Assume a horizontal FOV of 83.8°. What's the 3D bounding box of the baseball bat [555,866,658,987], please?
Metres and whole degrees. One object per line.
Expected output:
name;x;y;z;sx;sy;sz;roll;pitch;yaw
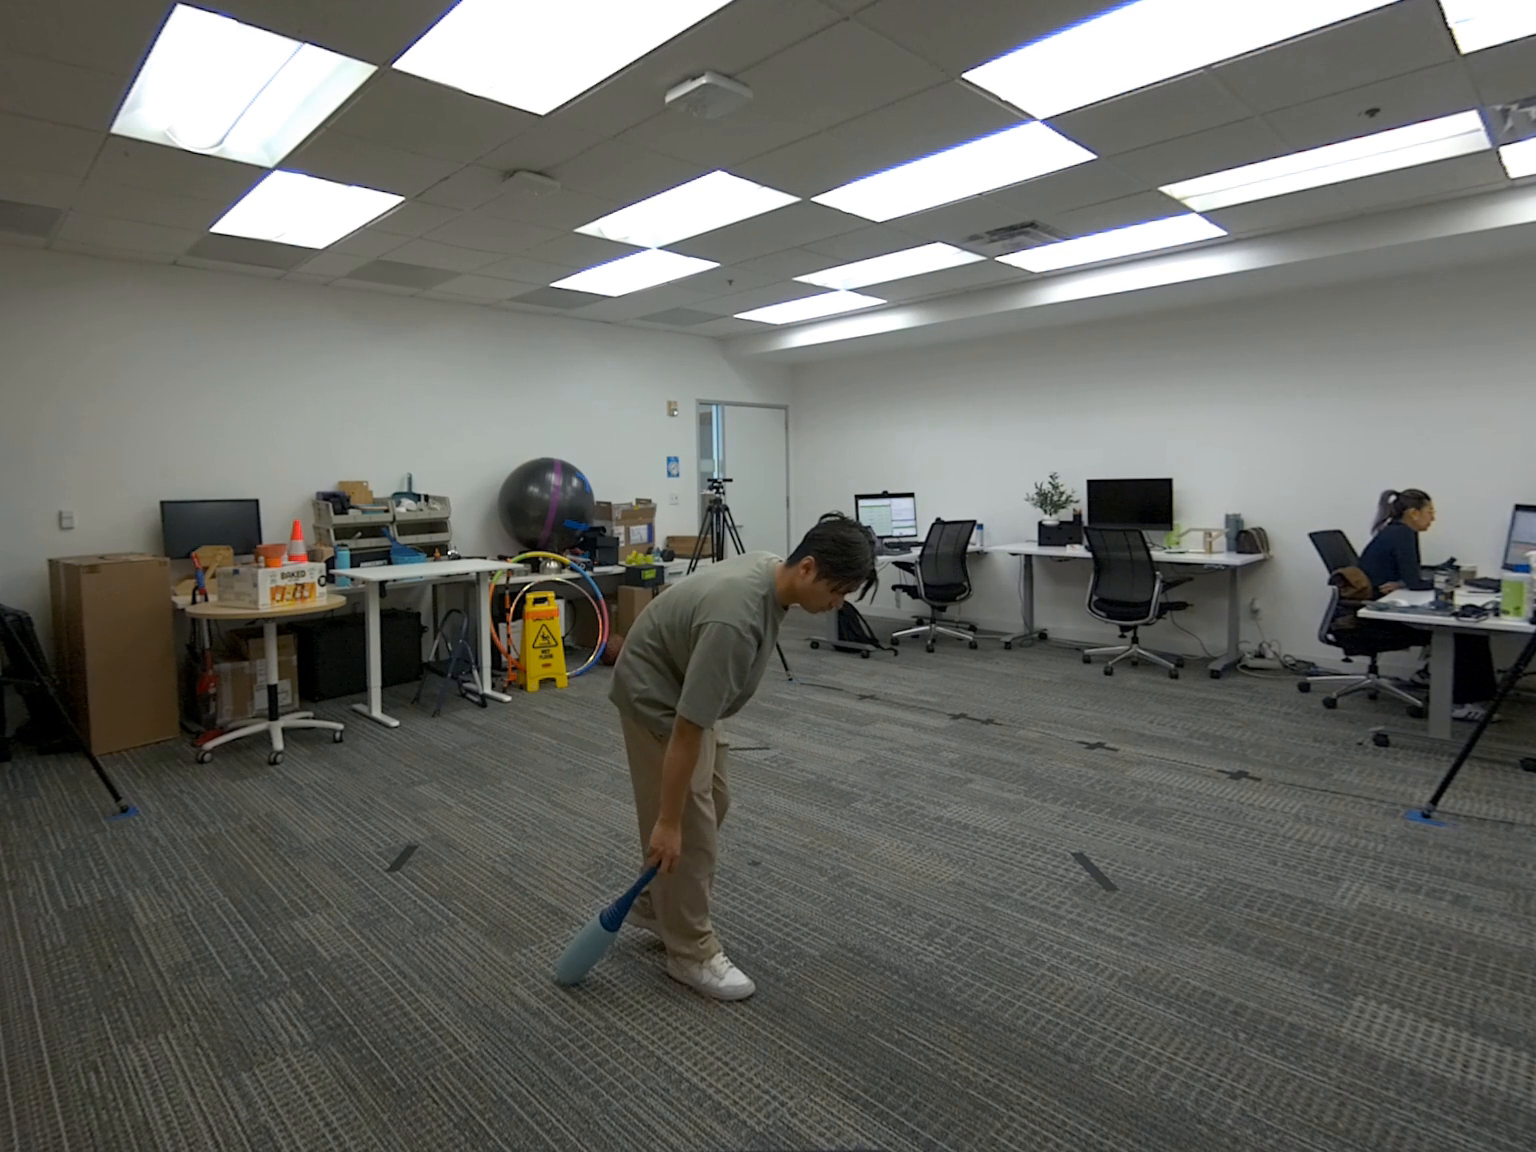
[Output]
baseball bat;-0.409;0.928;2.290;0.087;0.541;0.091;29;27;-19
